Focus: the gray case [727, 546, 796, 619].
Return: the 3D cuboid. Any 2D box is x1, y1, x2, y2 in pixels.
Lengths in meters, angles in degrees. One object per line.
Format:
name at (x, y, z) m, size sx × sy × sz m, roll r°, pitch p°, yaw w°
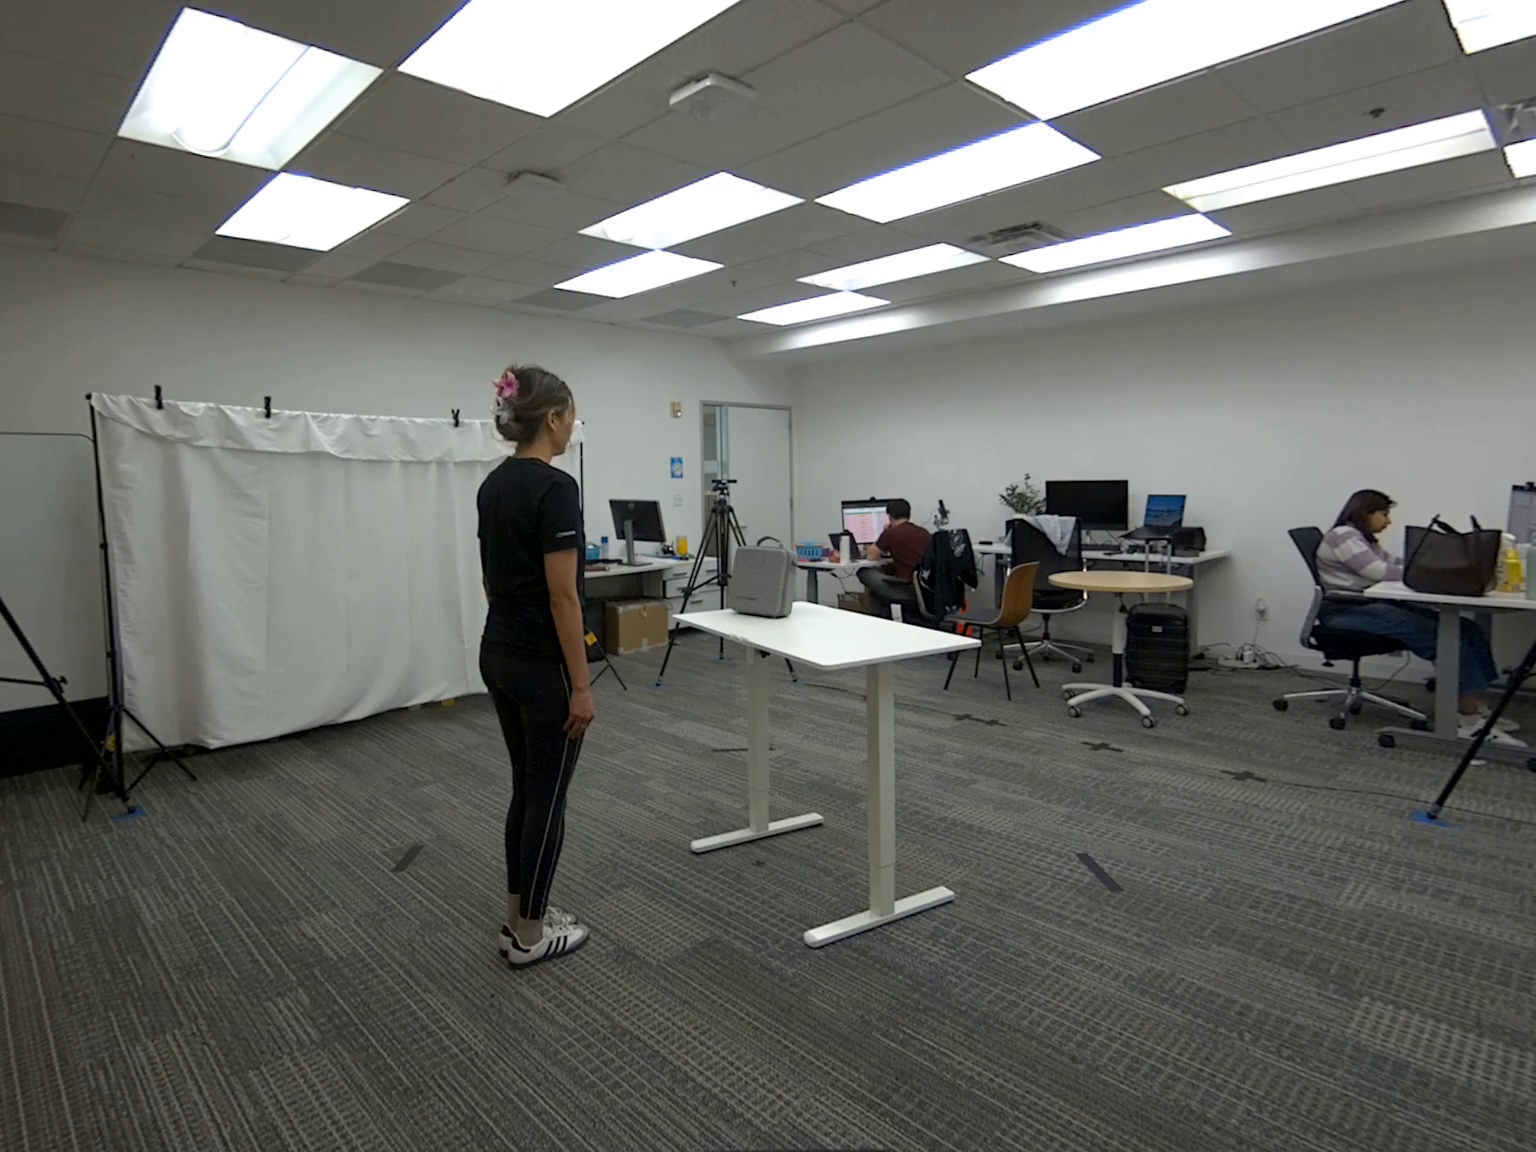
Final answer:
gray case at (-0.017, 0.015, 3.236) m, size 0.265 × 0.261 × 0.101 m, roll 6°, pitch -5°, yaw 42°
